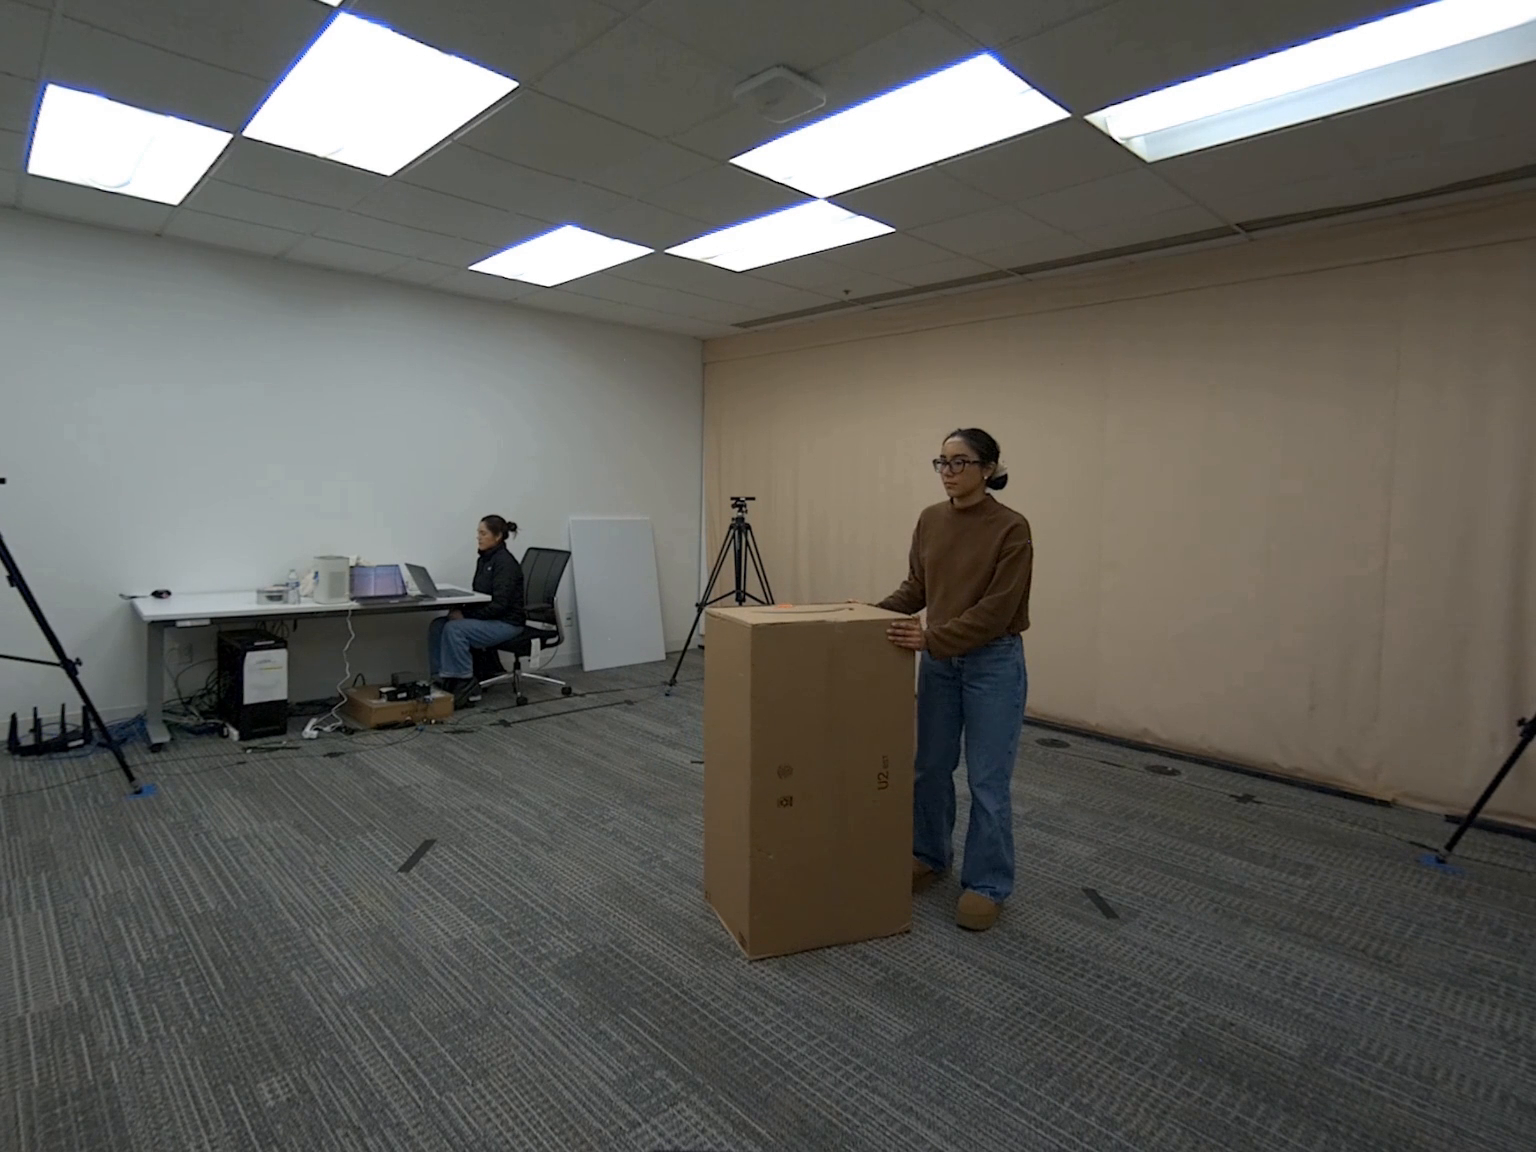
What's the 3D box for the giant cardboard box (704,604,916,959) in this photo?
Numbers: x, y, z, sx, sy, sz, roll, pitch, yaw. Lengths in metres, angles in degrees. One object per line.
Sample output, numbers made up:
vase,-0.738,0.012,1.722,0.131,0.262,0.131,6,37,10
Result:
giant cardboard box,0.117,0.629,2.798,0.568,1.024,0.434,0,3,-21
